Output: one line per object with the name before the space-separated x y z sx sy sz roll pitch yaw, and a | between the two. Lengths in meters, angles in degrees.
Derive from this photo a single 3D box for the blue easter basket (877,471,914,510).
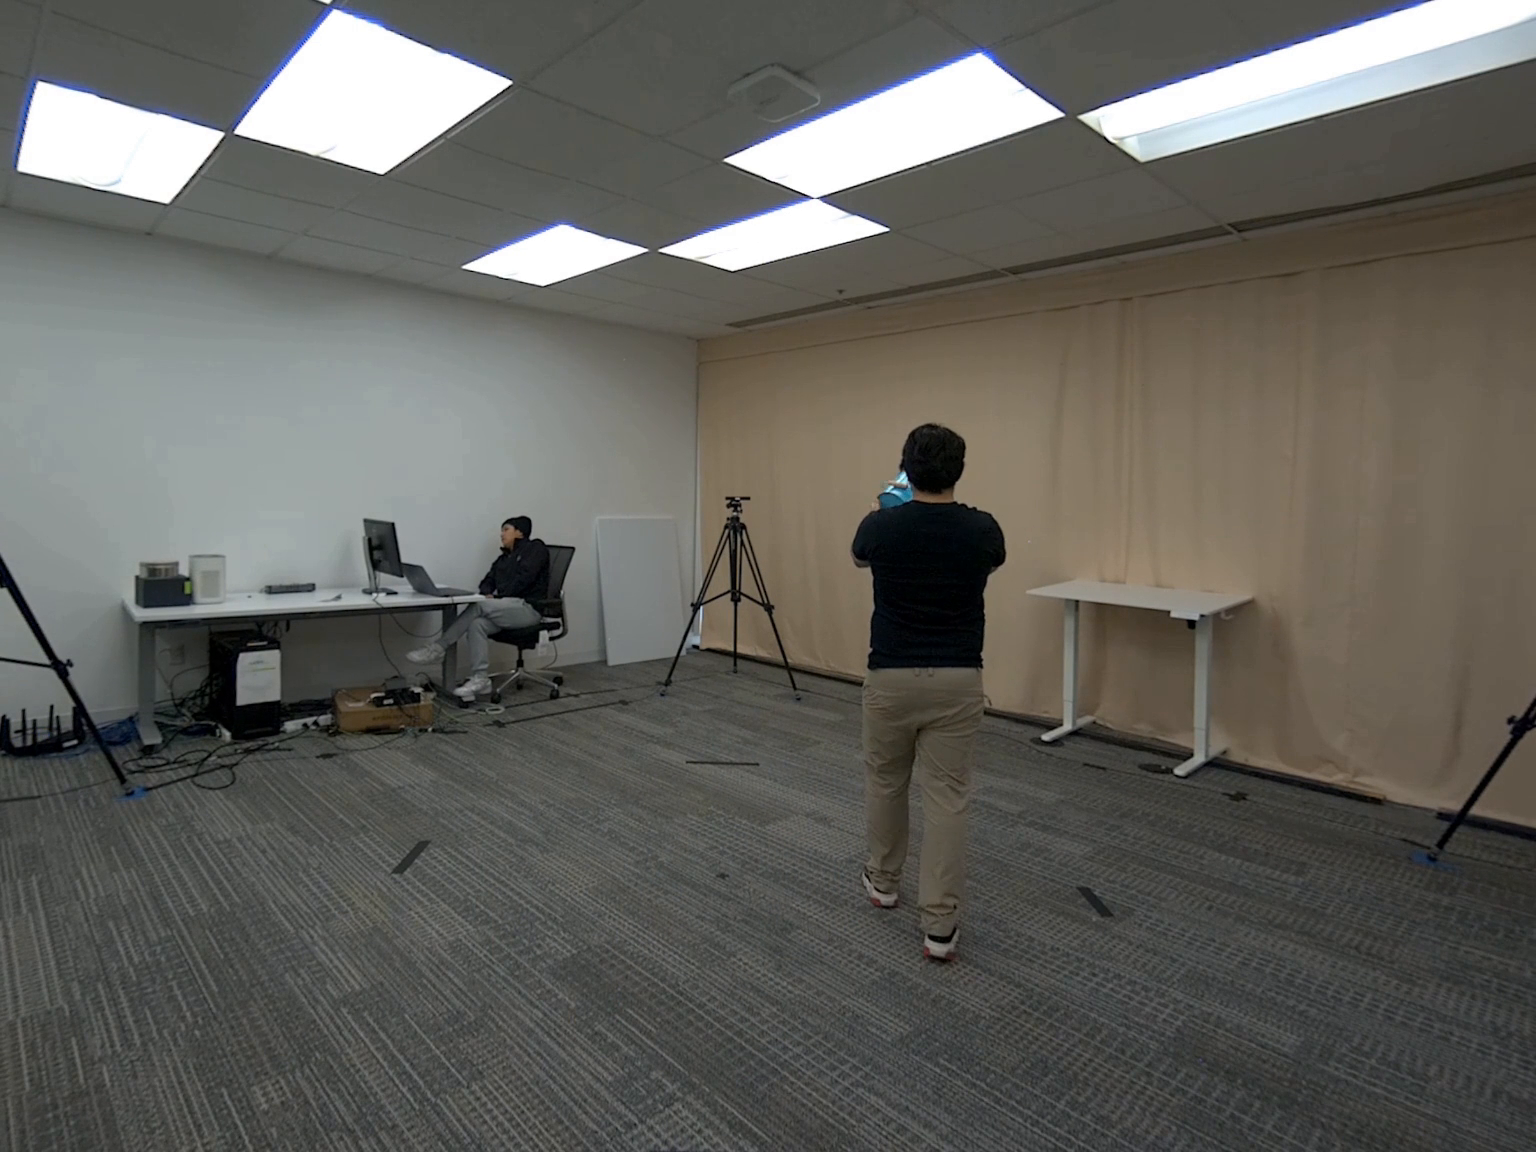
blue easter basket | 0.543 -0.273 3.249 0.155 0.239 0.249 -33 22 -29
